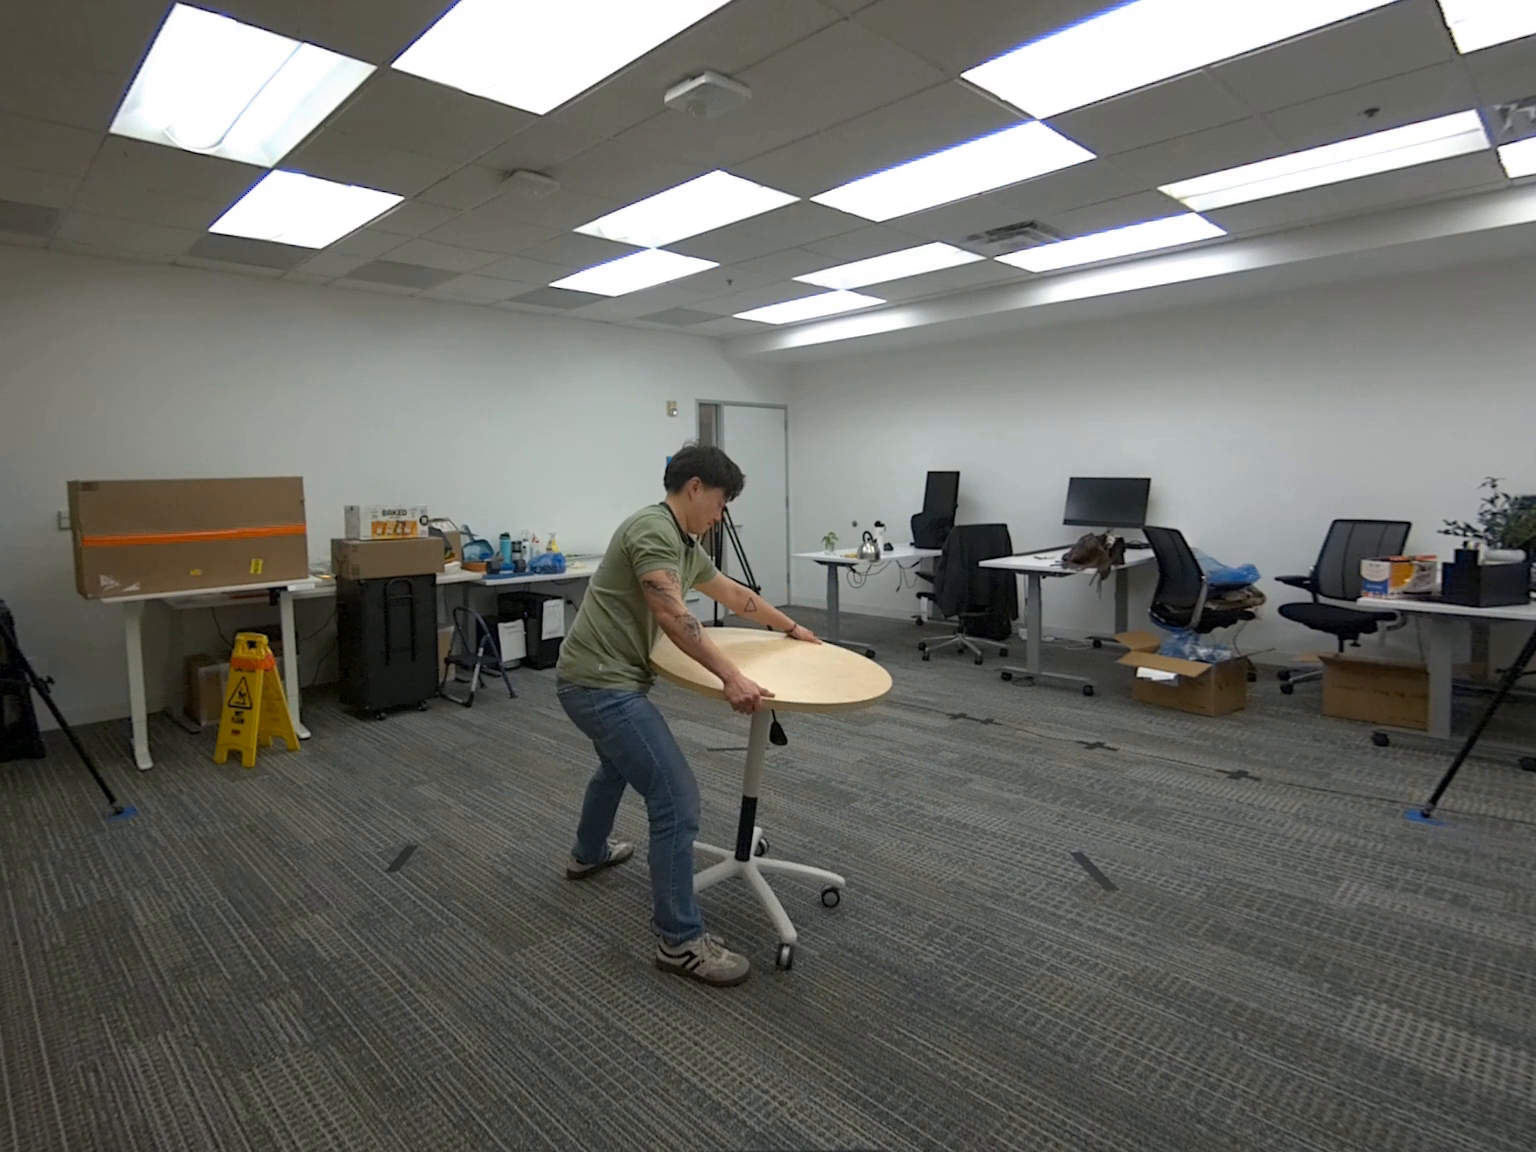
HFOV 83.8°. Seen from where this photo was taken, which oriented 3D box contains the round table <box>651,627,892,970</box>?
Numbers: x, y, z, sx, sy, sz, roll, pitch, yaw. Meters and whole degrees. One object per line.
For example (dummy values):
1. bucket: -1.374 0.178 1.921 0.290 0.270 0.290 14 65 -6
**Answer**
1. round table: -0.045 0.656 2.718 0.762 0.789 0.771 7 9 -3
